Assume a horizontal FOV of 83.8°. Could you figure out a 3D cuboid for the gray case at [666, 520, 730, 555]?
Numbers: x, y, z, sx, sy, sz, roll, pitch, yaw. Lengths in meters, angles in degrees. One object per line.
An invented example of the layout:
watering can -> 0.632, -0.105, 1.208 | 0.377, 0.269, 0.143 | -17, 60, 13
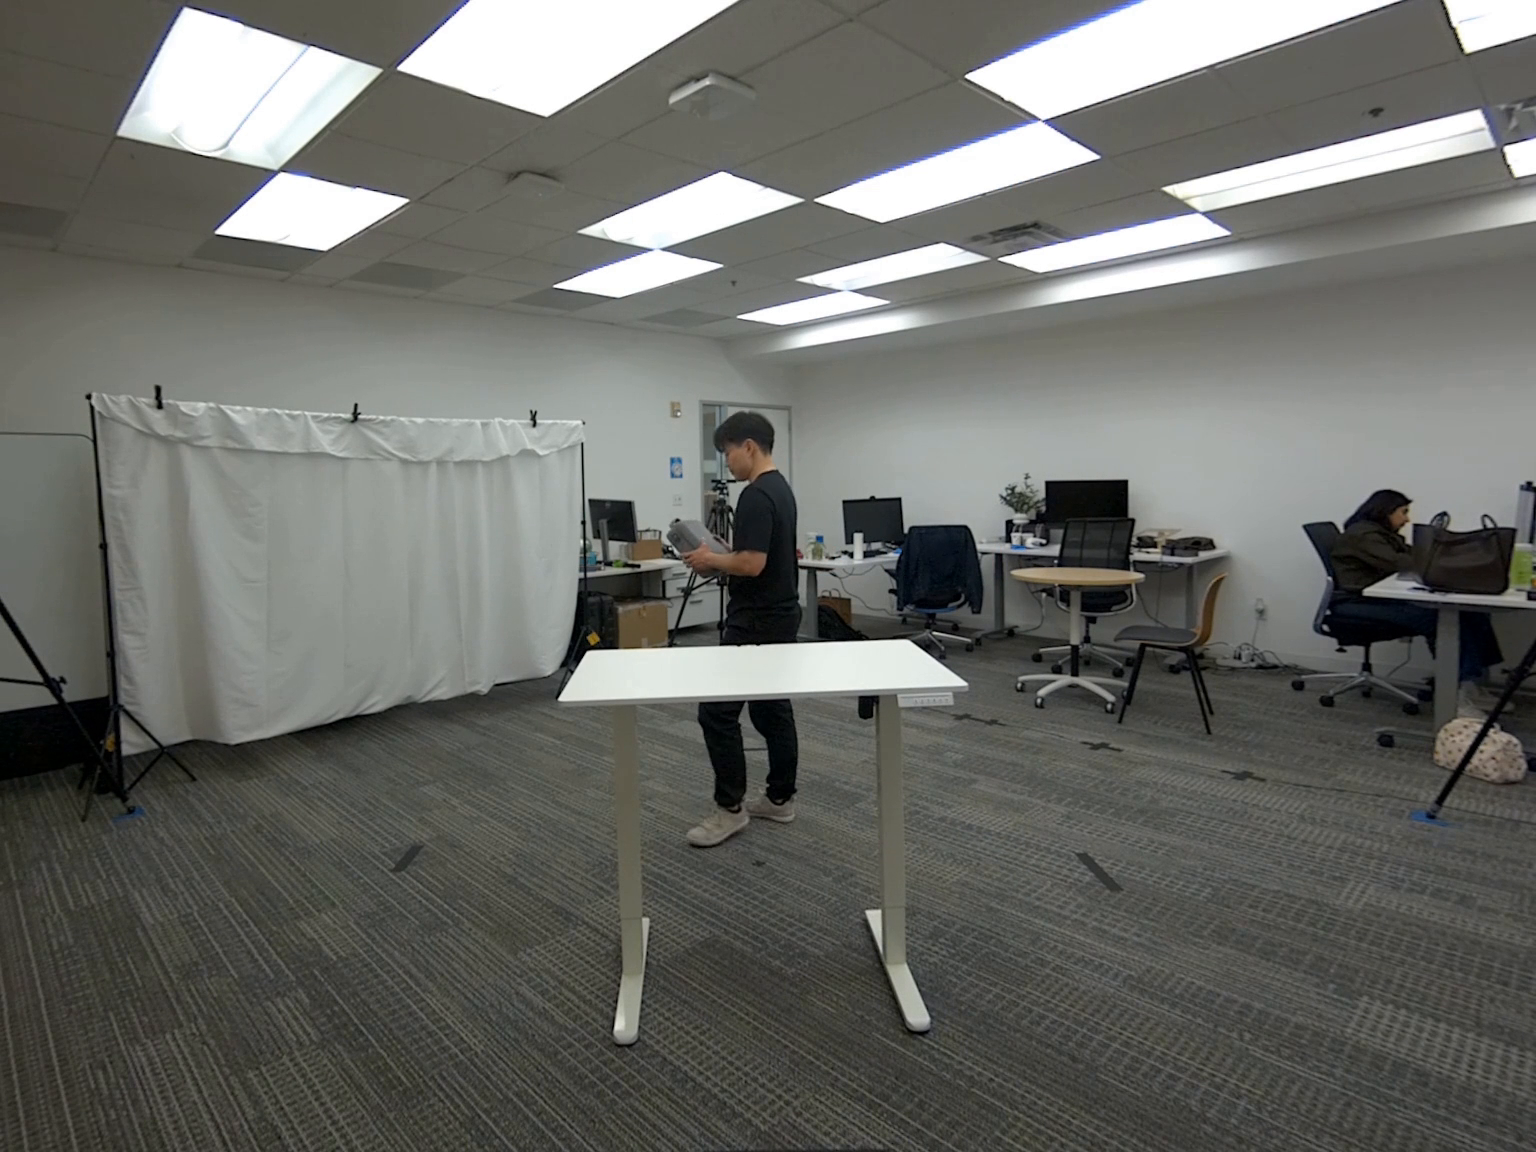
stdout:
gray case -> -0.283, -0.122, 3.513 | 0.104, 0.265, 0.253 | -45, -10, 13
